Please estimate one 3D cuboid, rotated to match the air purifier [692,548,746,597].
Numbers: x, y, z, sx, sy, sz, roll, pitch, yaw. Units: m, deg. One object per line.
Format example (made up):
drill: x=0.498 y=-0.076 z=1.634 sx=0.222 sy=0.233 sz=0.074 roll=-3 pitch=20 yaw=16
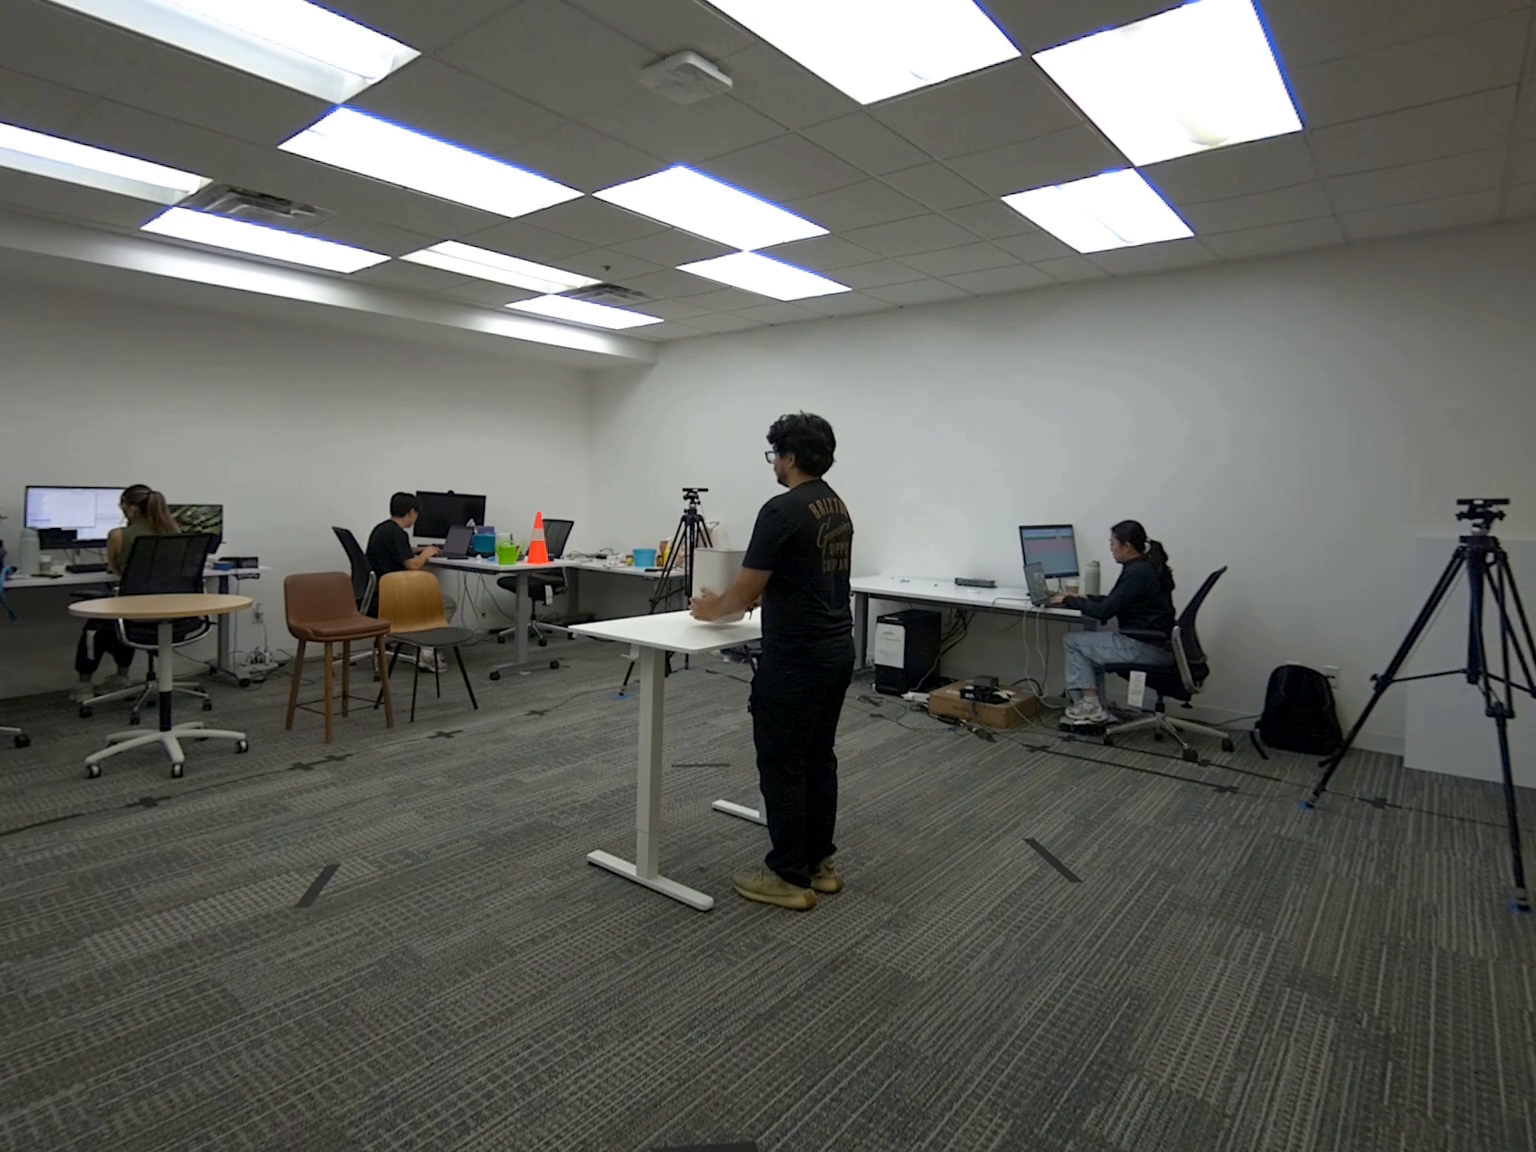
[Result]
air purifier: x=-0.191 y=0.027 z=3.140 sx=0.176 sy=0.265 sz=0.166 roll=5 pitch=3 yaw=34
